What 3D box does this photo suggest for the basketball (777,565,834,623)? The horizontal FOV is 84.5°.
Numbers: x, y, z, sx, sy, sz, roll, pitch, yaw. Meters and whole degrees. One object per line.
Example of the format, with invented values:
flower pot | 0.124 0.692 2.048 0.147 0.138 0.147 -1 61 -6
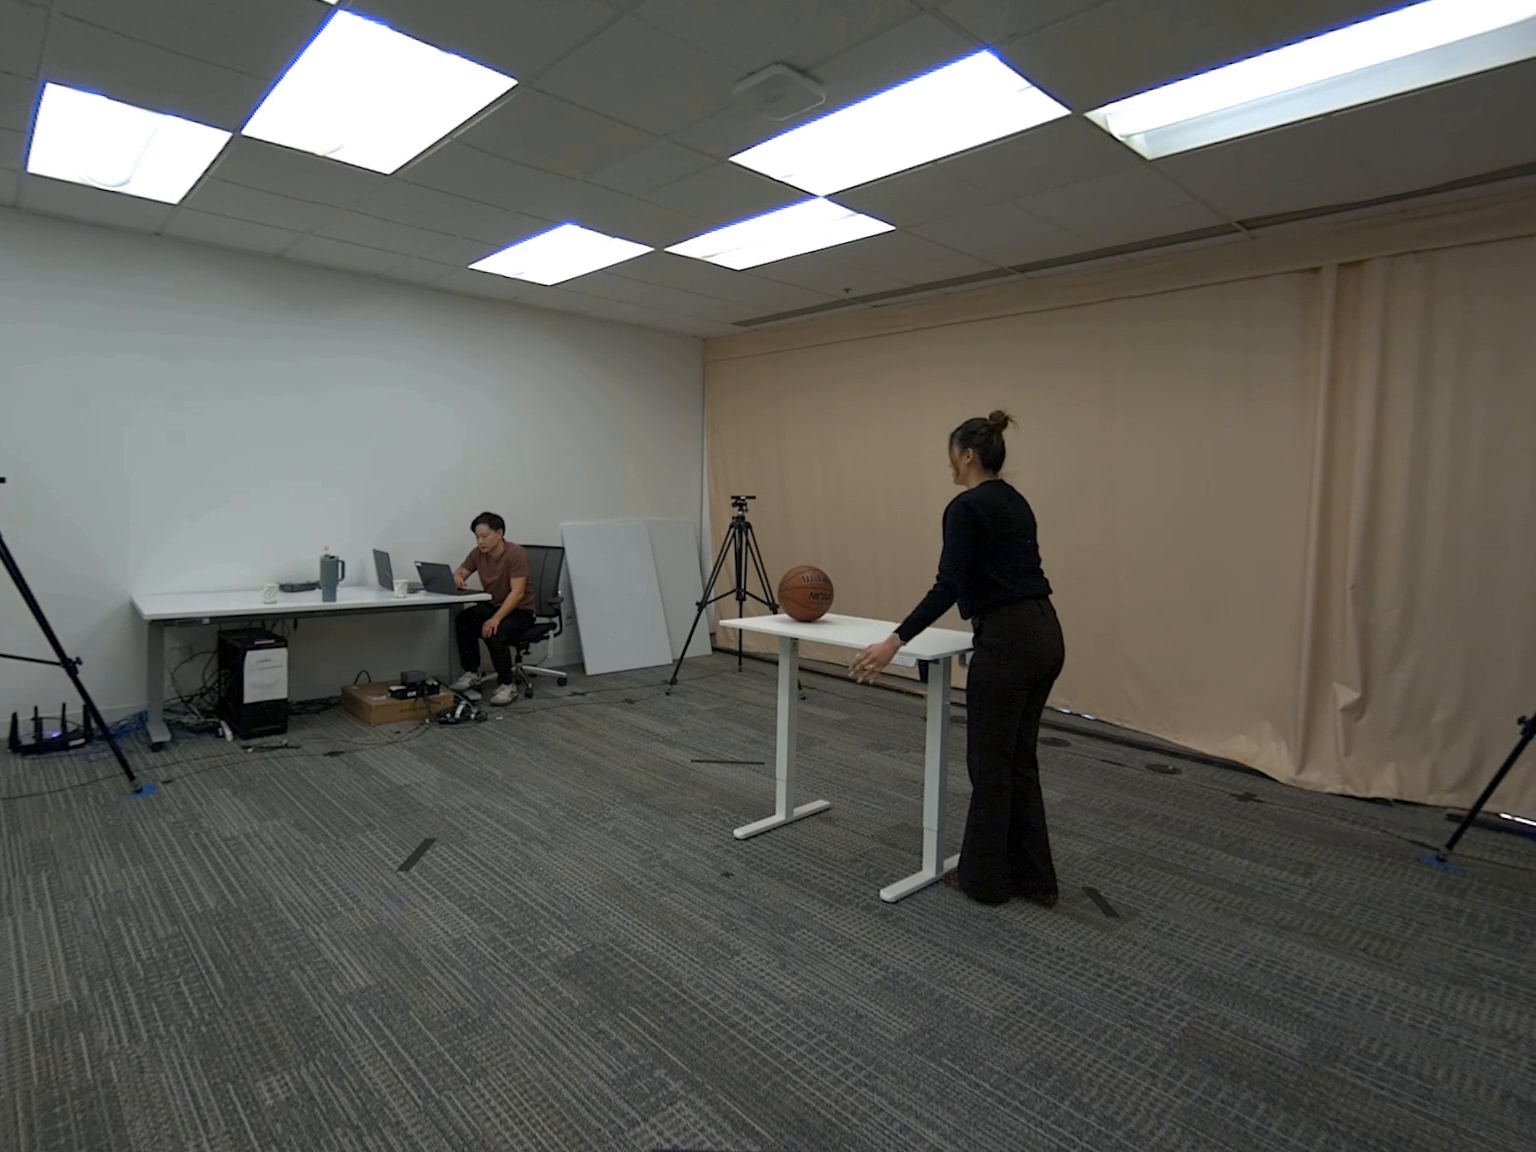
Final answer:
basketball | 0.155 0.077 3.548 0.236 0.235 0.237 1 4 -1
